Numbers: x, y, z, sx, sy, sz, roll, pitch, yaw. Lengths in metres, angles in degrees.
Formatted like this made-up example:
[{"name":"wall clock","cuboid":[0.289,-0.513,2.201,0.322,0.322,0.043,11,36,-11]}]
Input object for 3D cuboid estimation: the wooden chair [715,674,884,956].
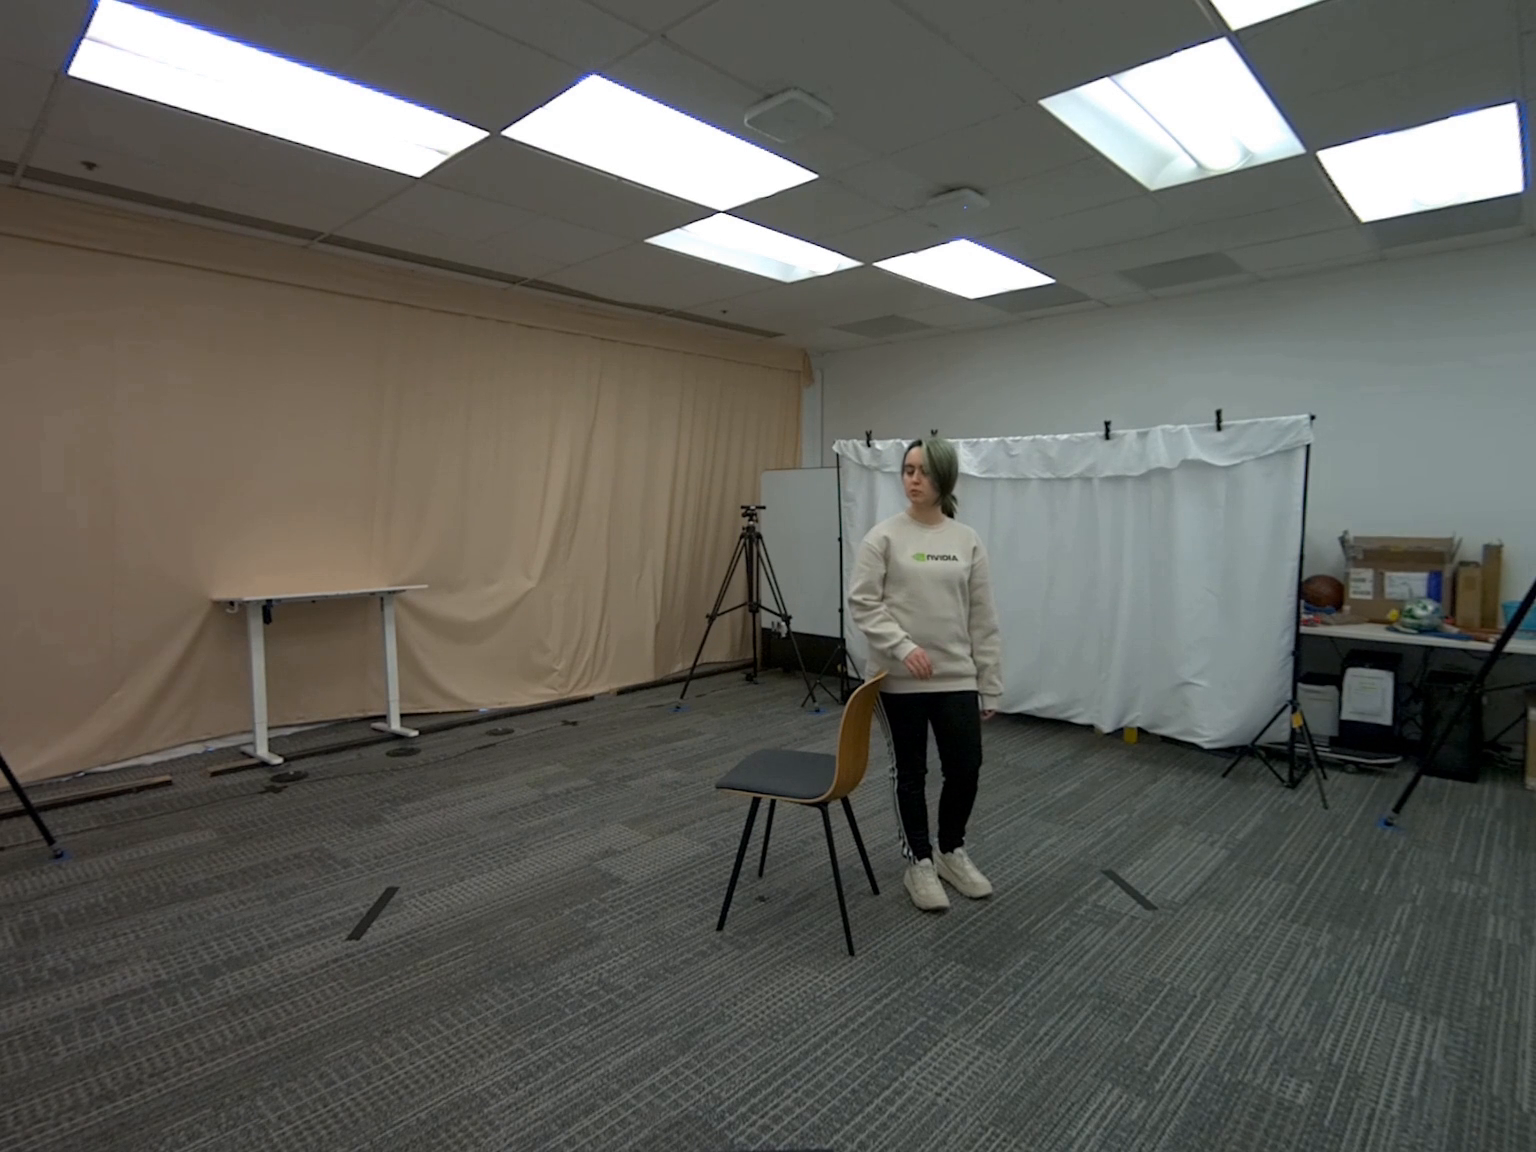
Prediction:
[{"name":"wooden chair","cuboid":[0.106,0.726,2.857,0.535,0.875,0.469,6,5,20]}]
